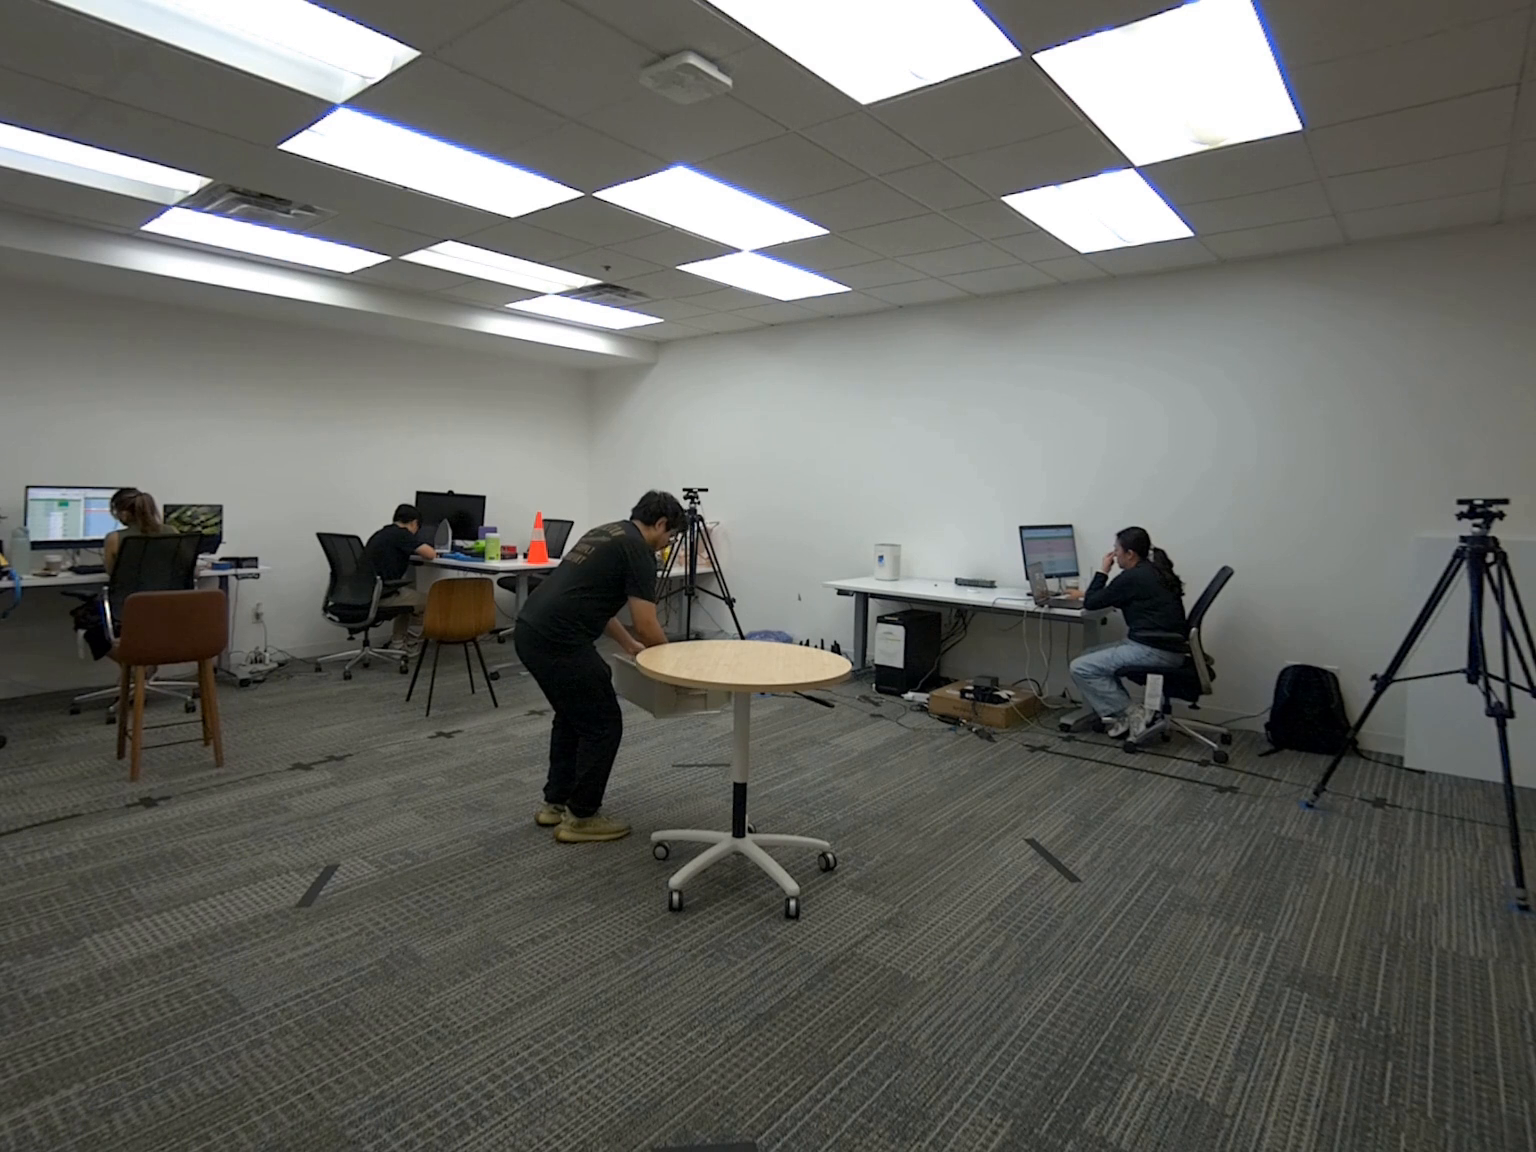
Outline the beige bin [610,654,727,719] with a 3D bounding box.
[{"bbox_3d":[-0.442,0.461,3.691,0.366,0.188,0.438,-1,10,-37],"label":"beige bin"}]
